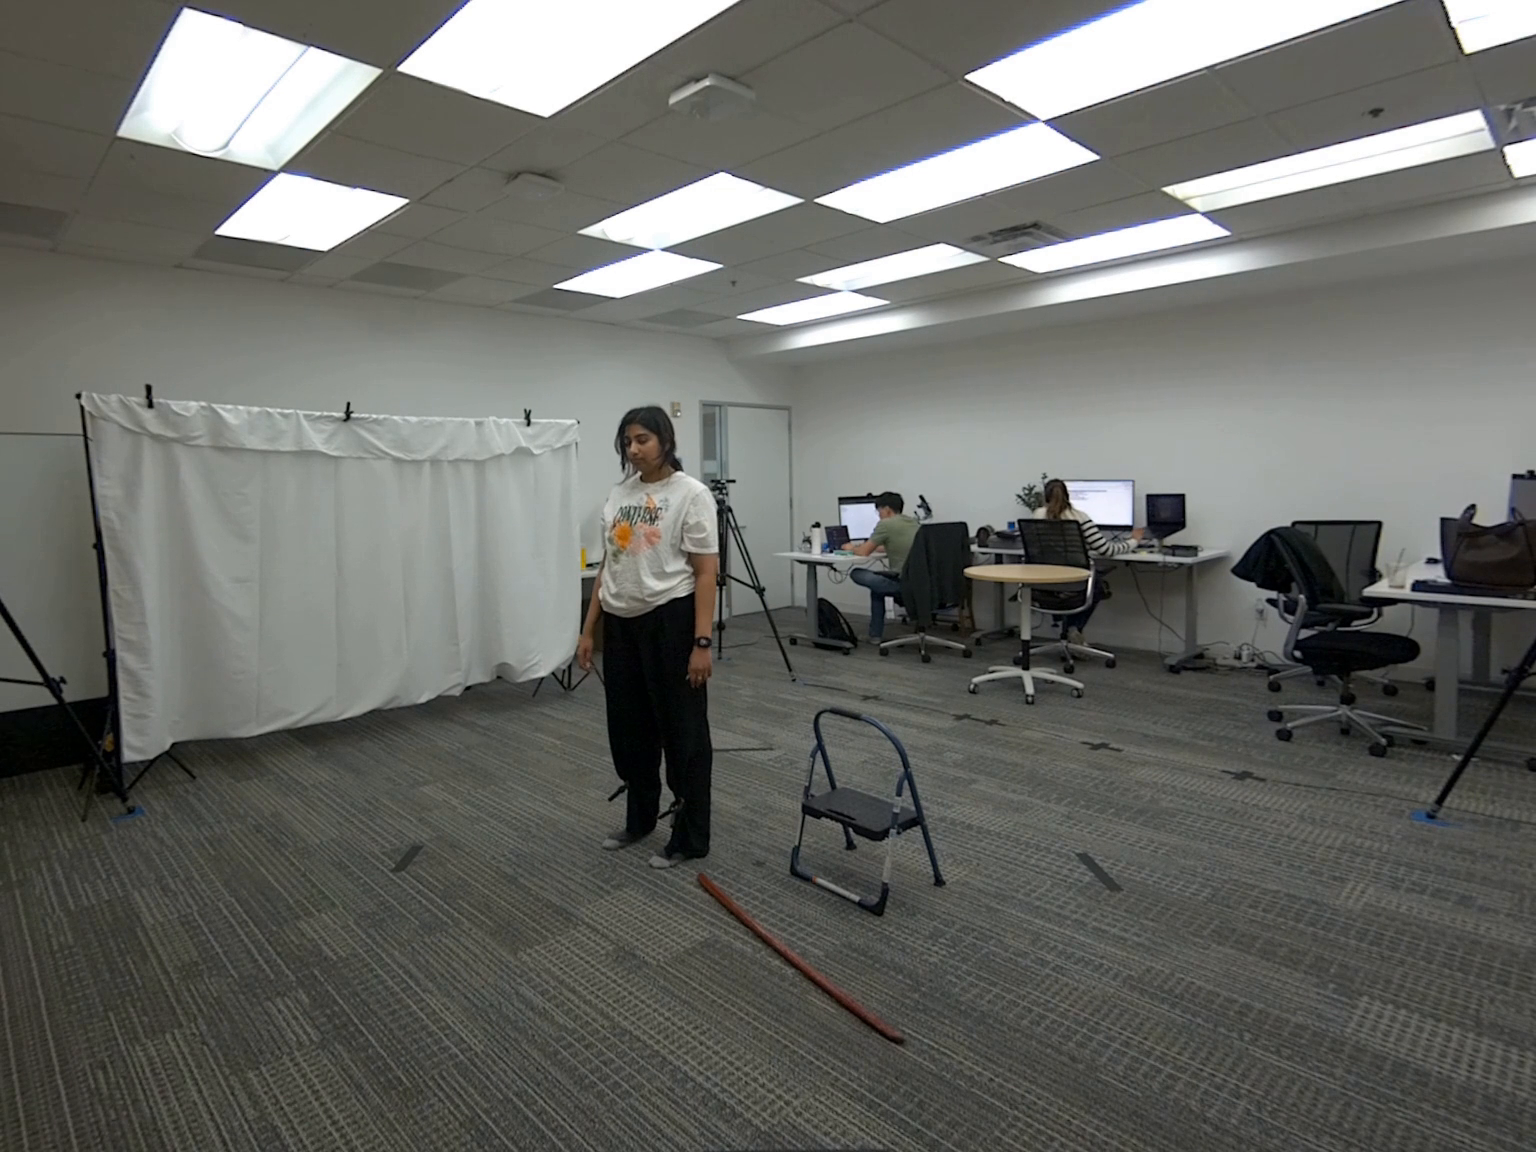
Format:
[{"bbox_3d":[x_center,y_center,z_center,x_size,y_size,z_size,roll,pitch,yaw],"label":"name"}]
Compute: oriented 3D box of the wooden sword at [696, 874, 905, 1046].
[{"bbox_3d":[0.045,1.075,2.556,0.023,0.051,1.055,-3,7,-32],"label":"wooden sword"}]
